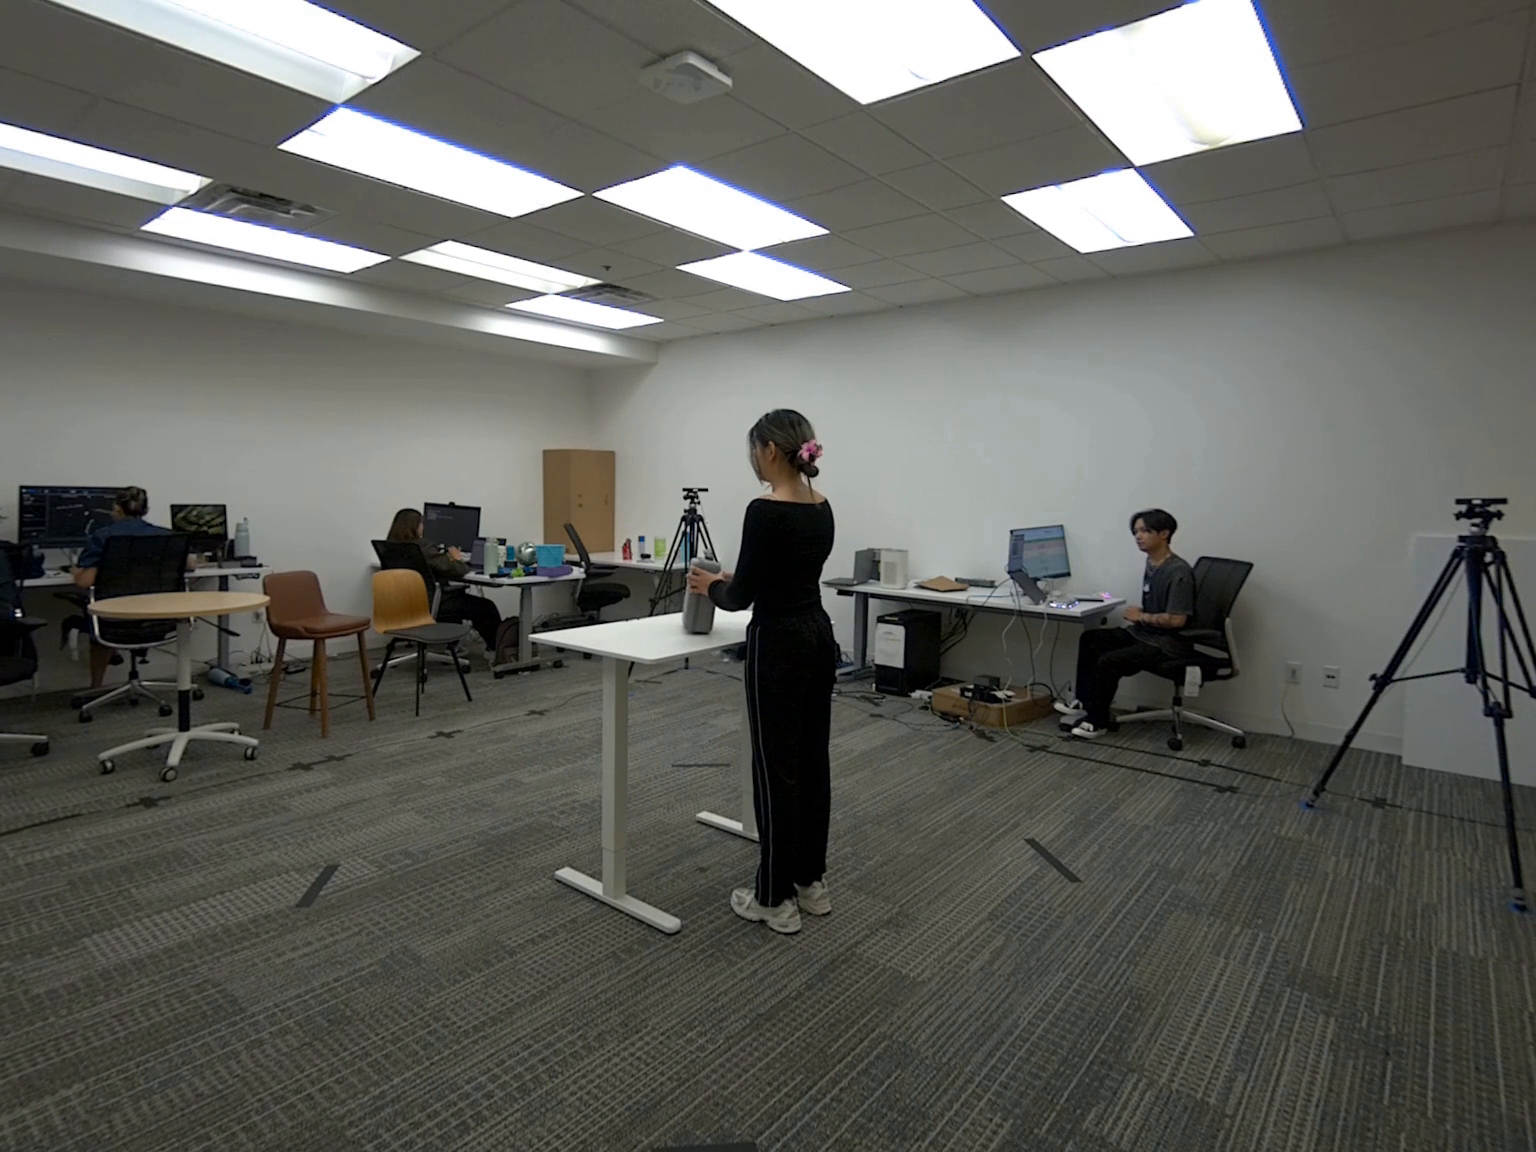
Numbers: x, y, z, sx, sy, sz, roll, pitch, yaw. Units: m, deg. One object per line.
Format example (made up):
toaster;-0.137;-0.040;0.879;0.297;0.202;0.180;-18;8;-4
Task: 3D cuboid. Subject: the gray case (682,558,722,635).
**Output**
gray case;-0.251;0.059;3.054;0.104;0.260;0.259;5;4;-5
